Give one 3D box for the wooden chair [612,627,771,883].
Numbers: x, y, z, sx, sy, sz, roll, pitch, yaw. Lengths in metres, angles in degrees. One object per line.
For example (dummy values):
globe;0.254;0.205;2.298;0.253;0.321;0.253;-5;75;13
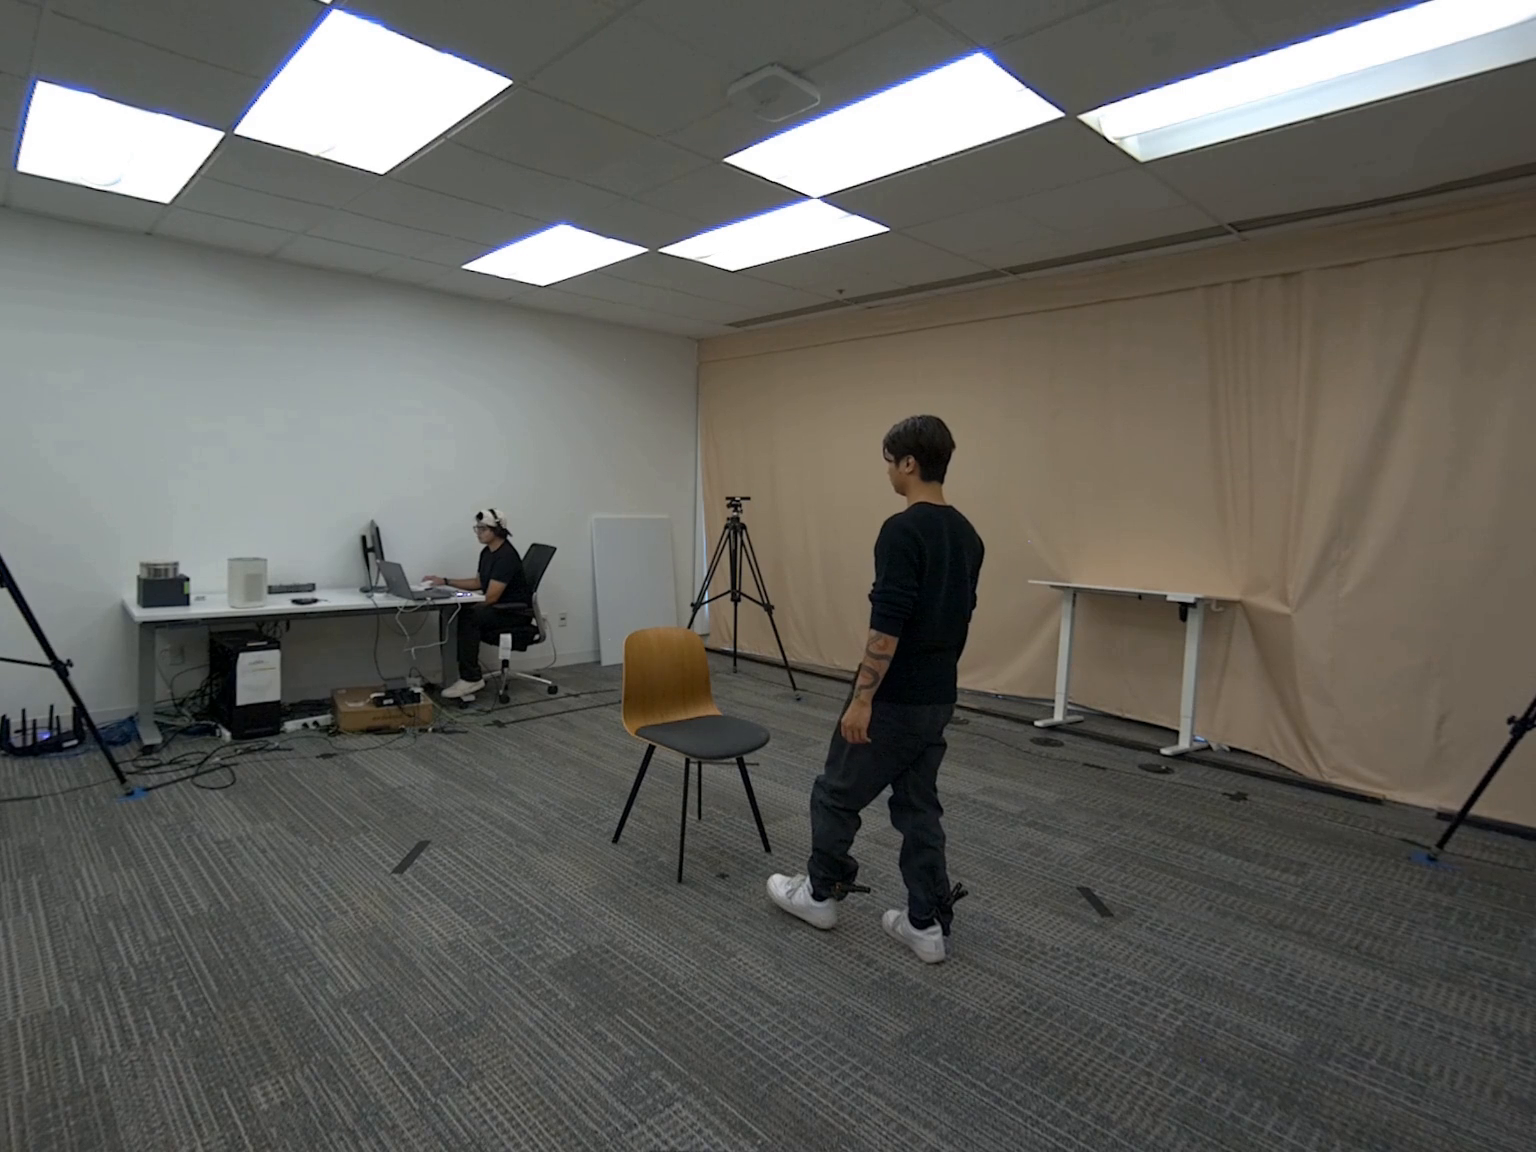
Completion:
wooden chair;-0.296;0.658;3.312;0.467;0.878;0.535;-1;0;-41
